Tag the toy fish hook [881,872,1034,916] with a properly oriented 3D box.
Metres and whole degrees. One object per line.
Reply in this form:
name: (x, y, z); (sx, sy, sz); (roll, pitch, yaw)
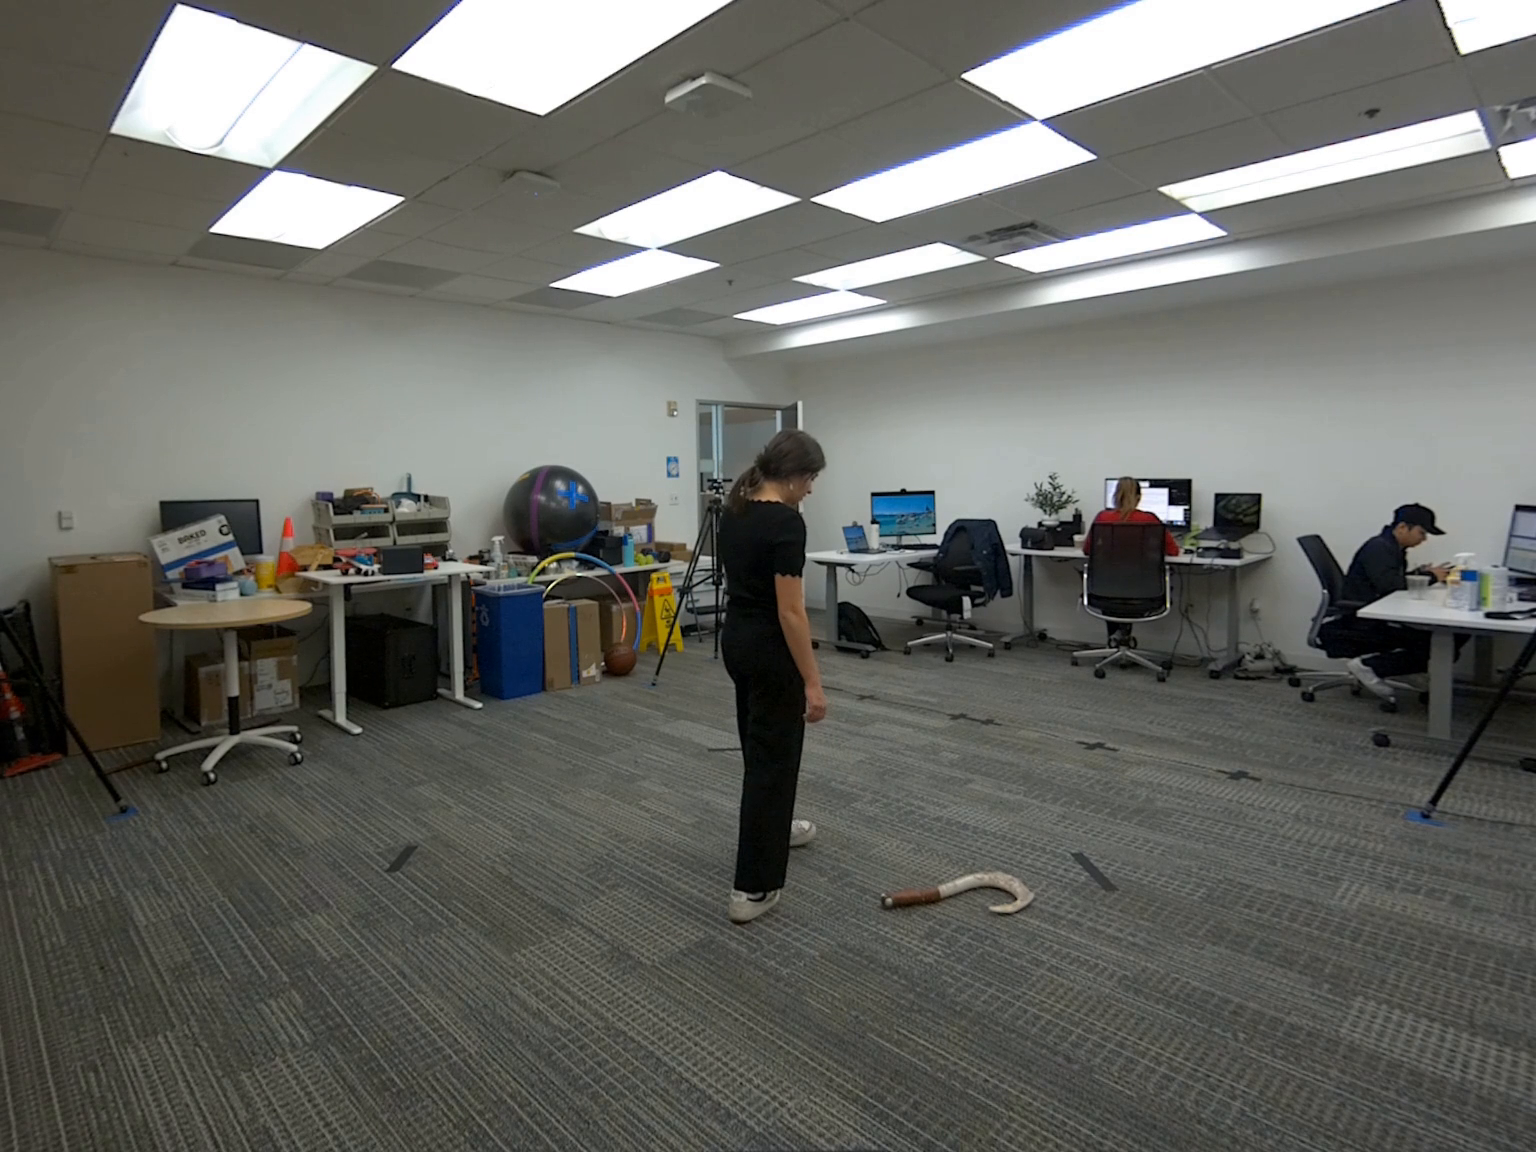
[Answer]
toy fish hook: (0.629, 1.050, 2.779); (0.499, 0.048, 0.229); (-3, 6, -17)
